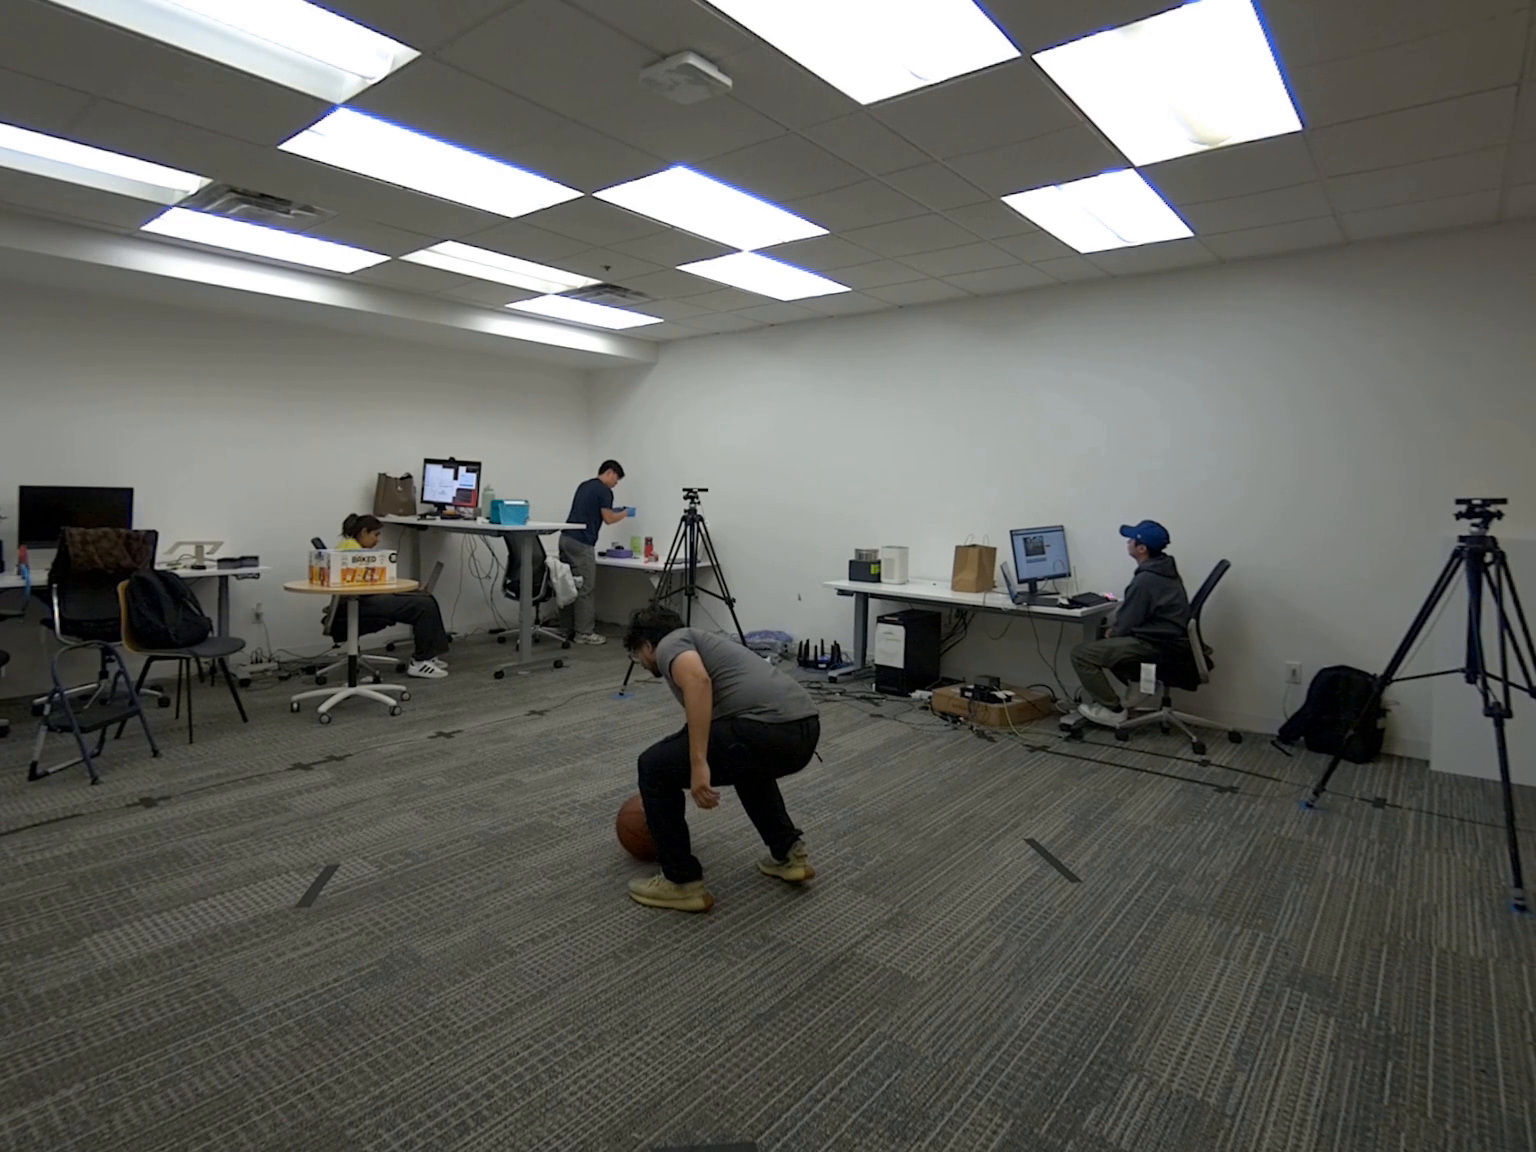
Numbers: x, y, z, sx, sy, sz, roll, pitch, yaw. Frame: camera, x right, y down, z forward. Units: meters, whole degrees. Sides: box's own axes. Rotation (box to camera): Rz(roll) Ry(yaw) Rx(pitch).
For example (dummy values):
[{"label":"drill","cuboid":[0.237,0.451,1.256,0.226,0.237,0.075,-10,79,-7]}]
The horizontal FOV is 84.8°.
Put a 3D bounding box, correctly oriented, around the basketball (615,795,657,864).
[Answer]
[{"label":"basketball","cuboid":[-0.468,0.935,3.220,0.235,0.235,0.237,1,4,-2]}]
